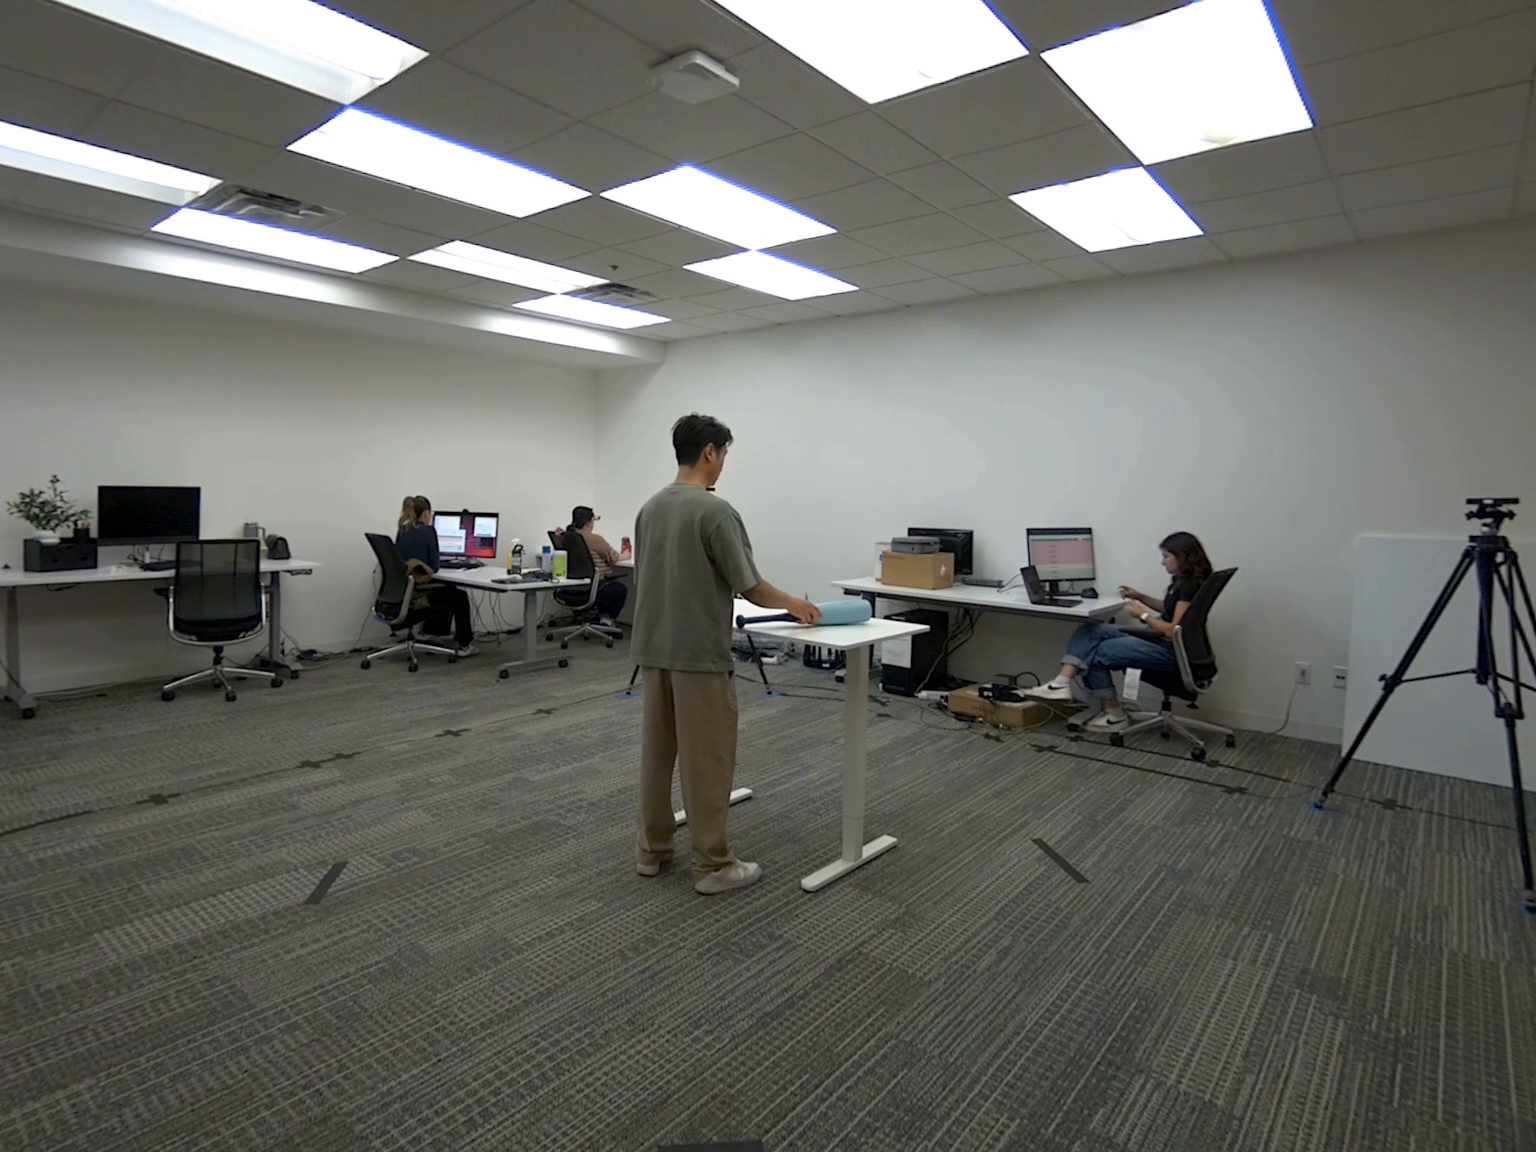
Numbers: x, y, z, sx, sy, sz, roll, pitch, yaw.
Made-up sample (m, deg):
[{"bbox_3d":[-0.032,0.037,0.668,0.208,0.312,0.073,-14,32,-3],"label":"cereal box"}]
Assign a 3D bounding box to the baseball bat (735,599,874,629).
[{"bbox_3d":[0.129,0.153,3.198,0.533,0.088,0.091,-5,6,-19],"label":"baseball bat"}]
